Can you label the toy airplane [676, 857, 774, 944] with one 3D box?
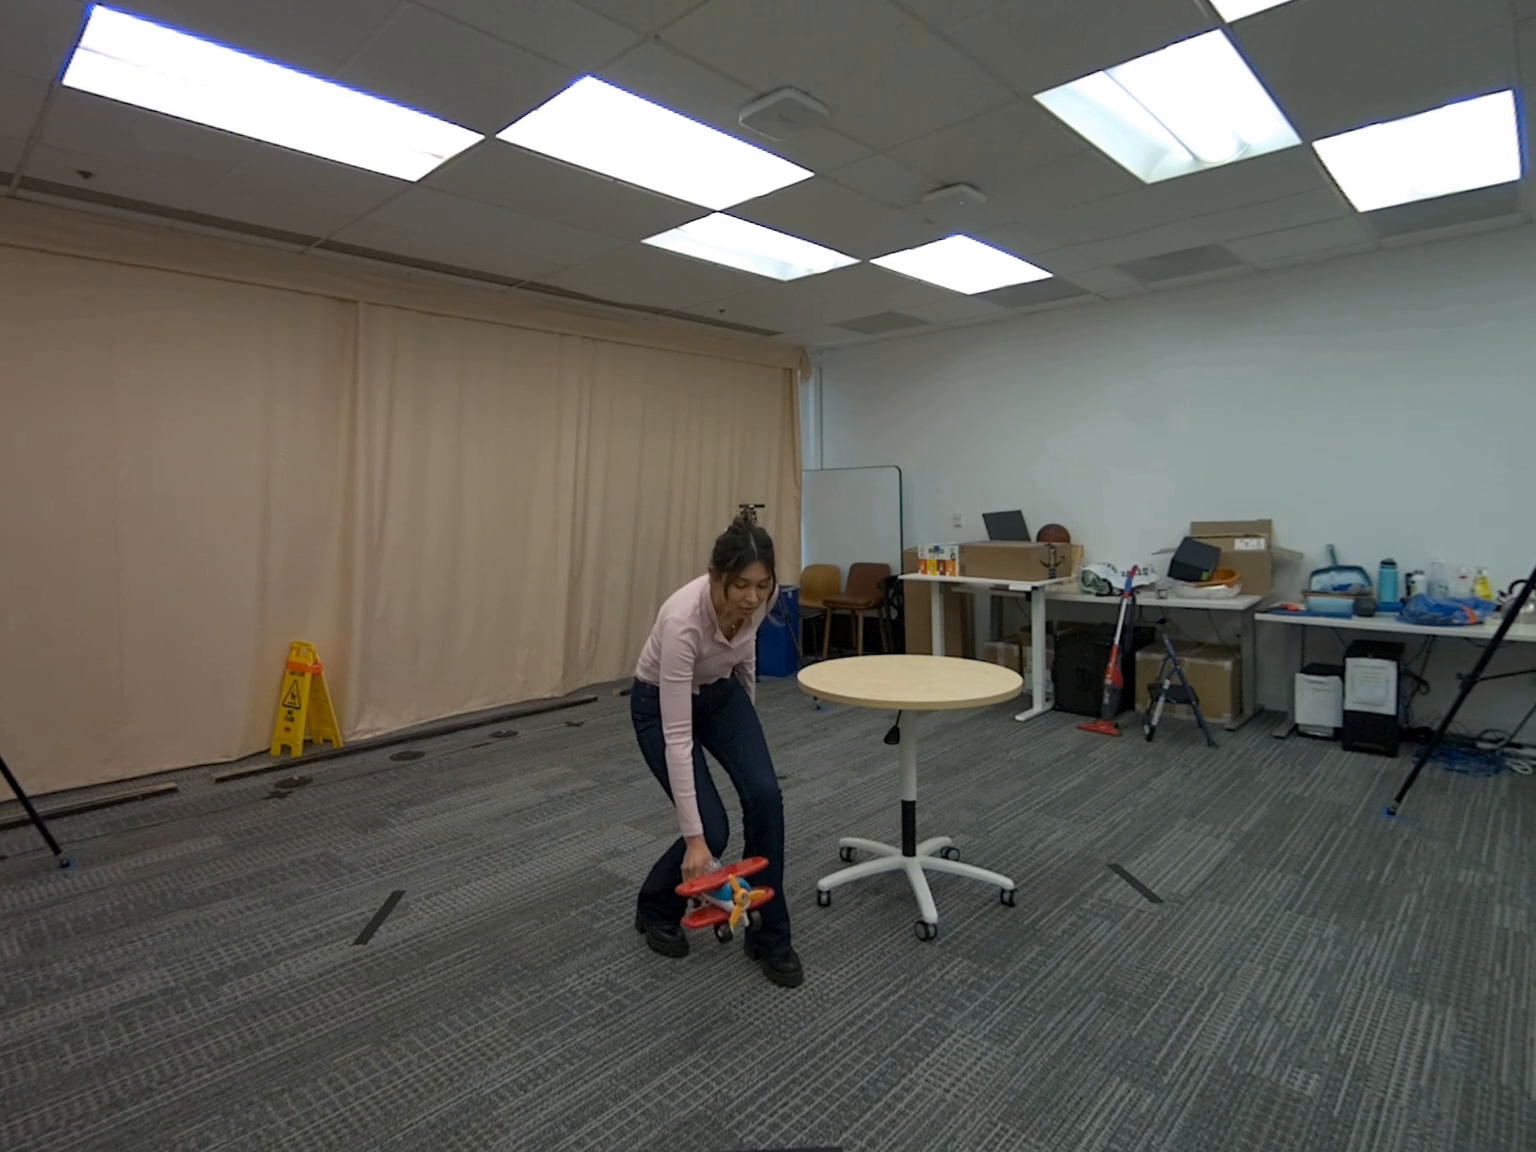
[{"bbox_3d":[-0.134,0.811,2.147,0.267,0.155,0.245,2,12,31],"label":"toy airplane"}]
